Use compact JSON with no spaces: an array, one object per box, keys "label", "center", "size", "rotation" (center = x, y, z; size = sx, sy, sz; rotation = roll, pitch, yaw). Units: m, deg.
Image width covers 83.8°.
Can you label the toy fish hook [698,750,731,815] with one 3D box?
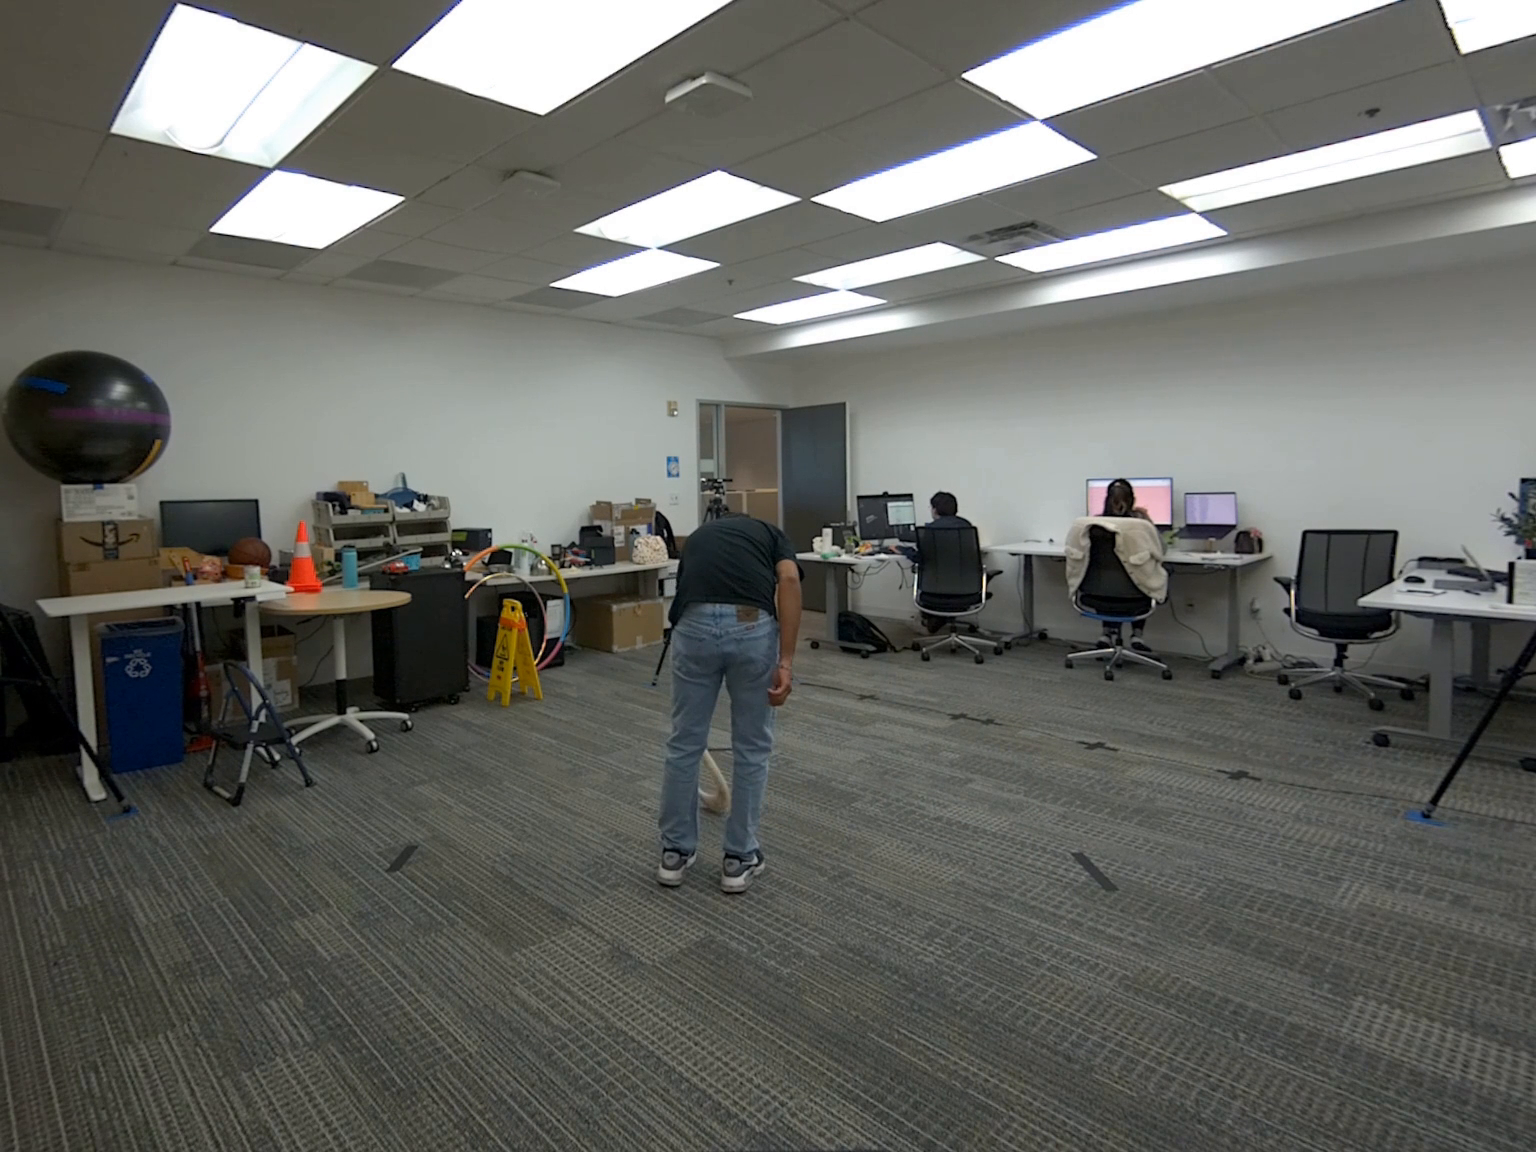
[{"label":"toy fish hook","center":[-0.307,0.759,3.563],"size":[0.230,0.501,0.048],"rotation":[-11,11,41]}]
